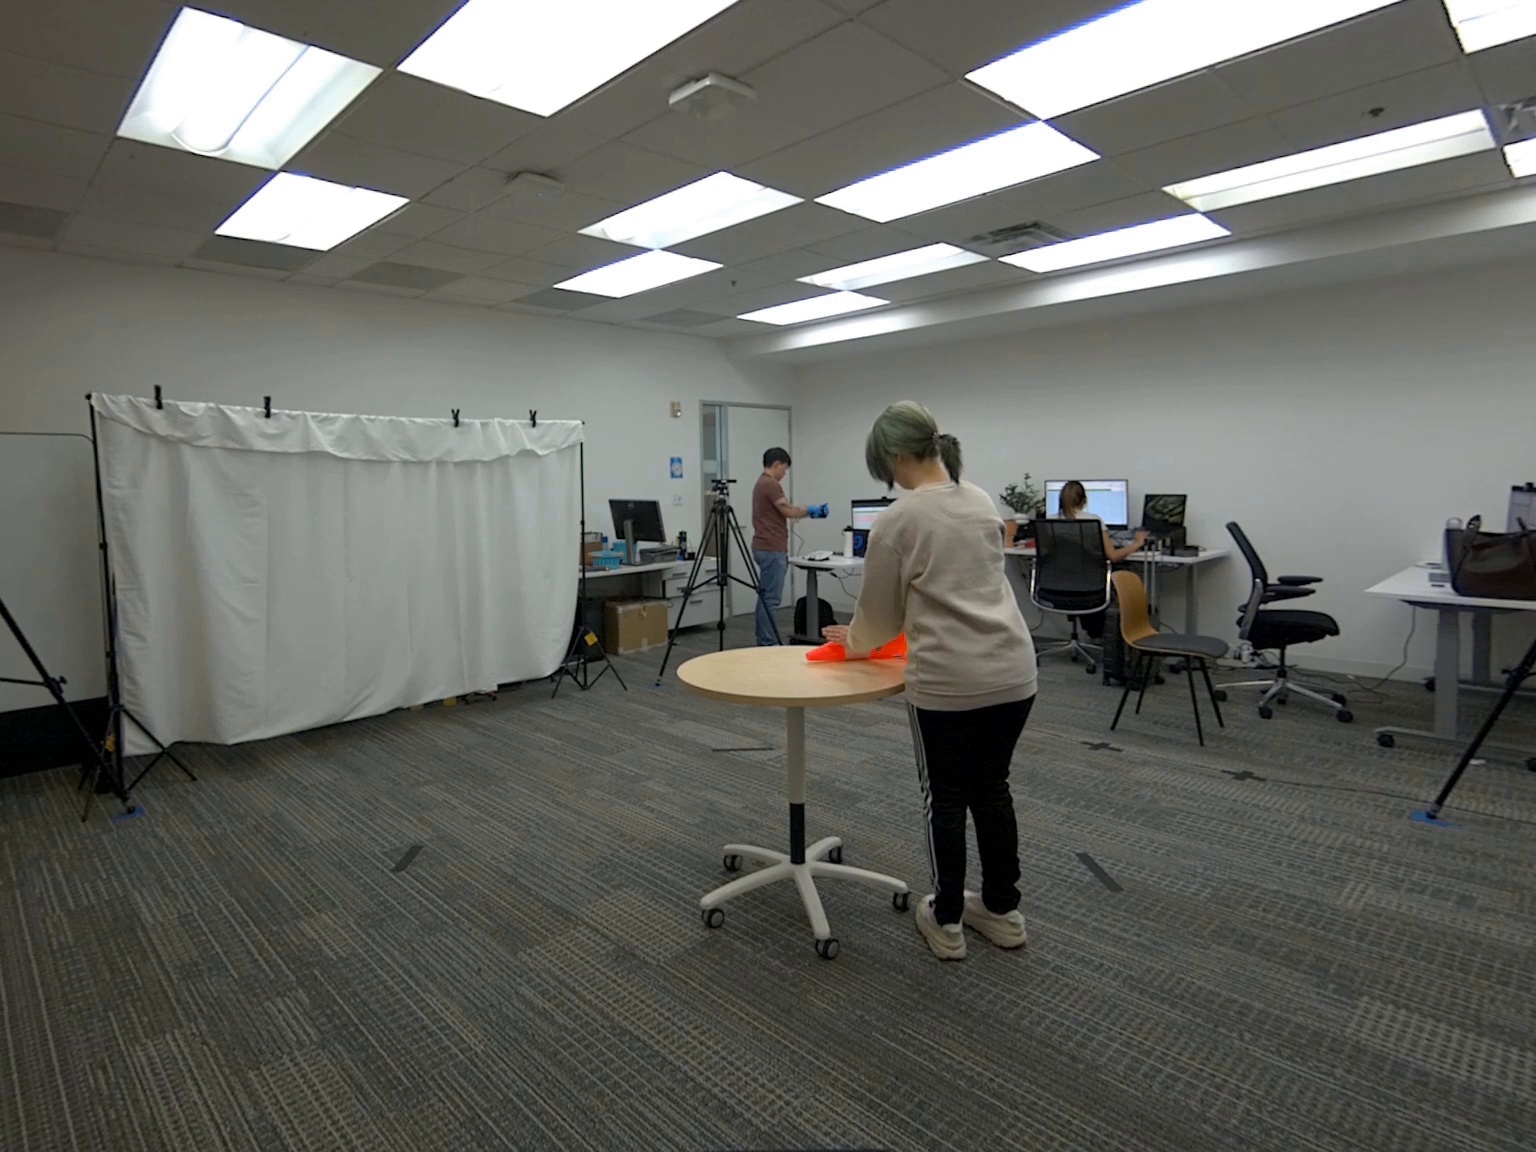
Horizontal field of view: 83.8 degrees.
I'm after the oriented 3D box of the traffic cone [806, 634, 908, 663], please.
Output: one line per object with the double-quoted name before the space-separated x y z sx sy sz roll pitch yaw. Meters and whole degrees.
"traffic cone" 0.313 0.227 2.901 0.379 0.208 0.202 -12 -15 -15
